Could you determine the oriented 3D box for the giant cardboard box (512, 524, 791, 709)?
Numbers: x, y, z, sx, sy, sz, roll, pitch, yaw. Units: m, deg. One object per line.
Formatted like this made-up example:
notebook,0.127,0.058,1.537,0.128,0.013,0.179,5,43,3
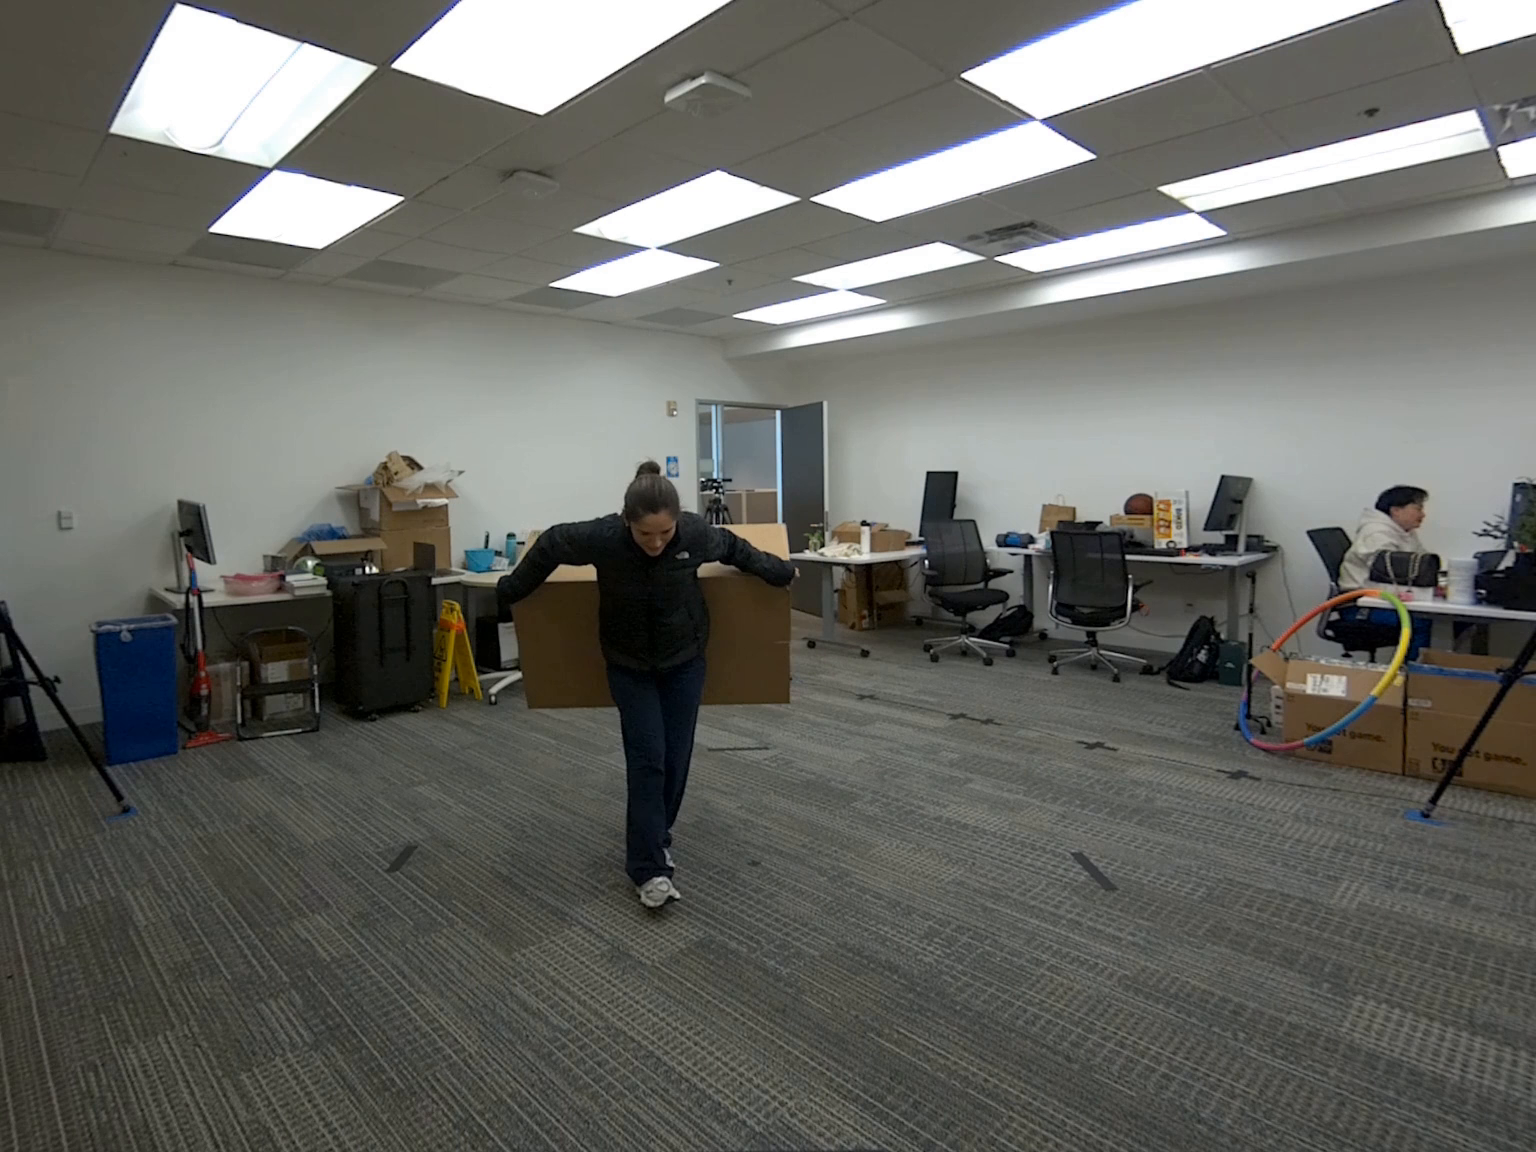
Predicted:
giant cardboard box,-0.436,0.157,3.364,1.027,0.564,0.435,-2,28,1
